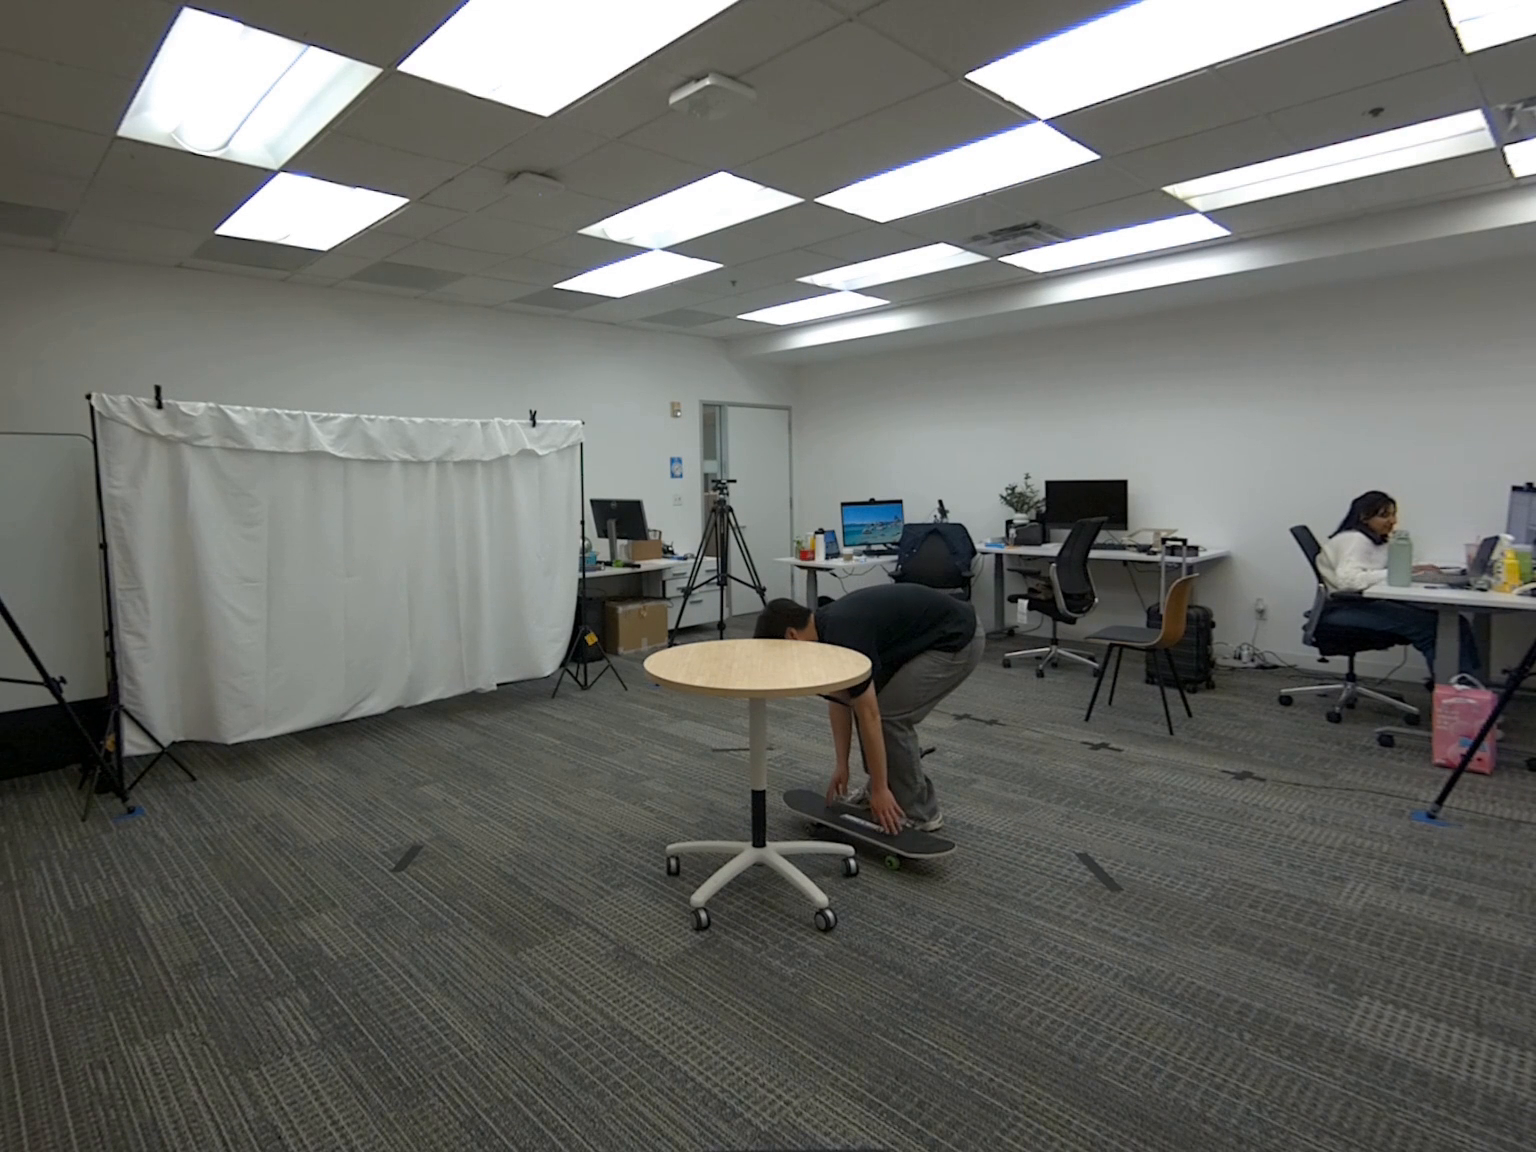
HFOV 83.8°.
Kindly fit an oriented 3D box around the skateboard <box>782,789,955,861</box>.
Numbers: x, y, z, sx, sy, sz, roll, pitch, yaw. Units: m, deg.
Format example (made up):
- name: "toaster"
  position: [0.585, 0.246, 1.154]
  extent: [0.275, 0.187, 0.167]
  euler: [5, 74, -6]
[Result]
- name: "skateboard"
  position: [0.366, 0.969, 3.244]
  extent: [0.188, 0.110, 0.810]
  euler: [-7, 9, -42]
